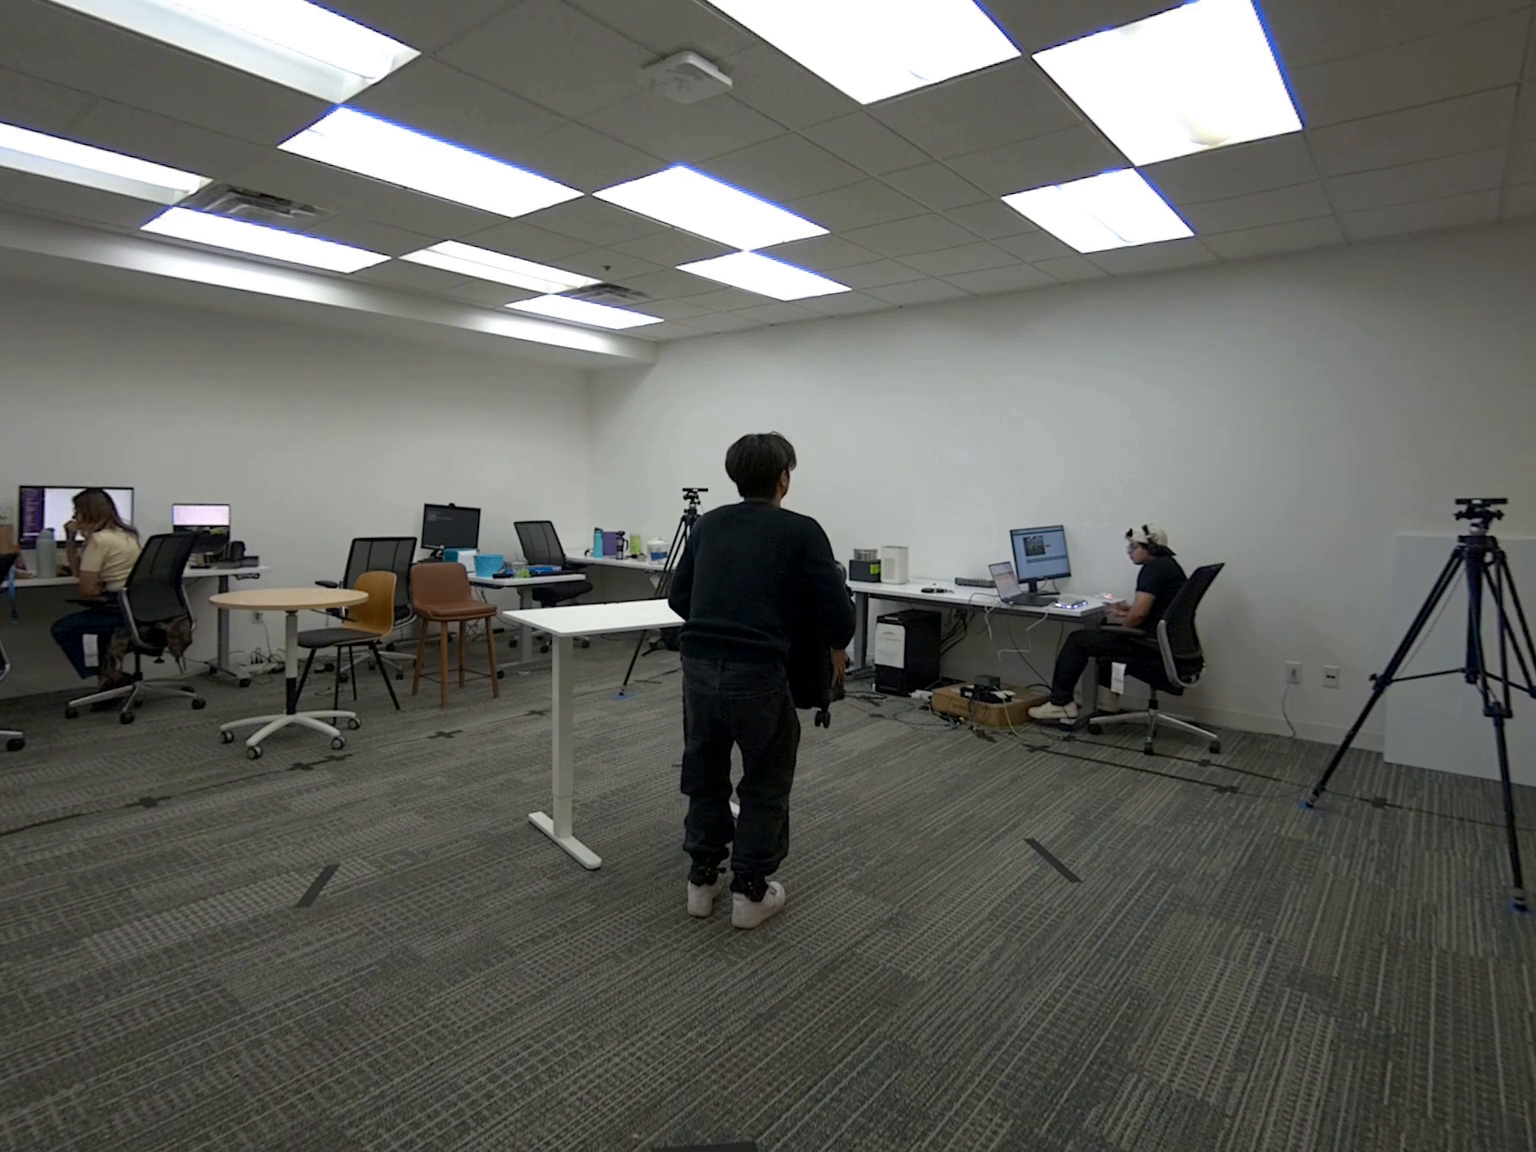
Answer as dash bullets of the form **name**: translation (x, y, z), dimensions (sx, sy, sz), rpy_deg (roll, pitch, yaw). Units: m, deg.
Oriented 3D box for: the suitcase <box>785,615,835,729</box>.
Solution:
- **suitcase**: translation (0.084, 0.200, 3.007), dimensions (0.384, 0.543, 0.245), rpy_deg (5, 12, 20)
